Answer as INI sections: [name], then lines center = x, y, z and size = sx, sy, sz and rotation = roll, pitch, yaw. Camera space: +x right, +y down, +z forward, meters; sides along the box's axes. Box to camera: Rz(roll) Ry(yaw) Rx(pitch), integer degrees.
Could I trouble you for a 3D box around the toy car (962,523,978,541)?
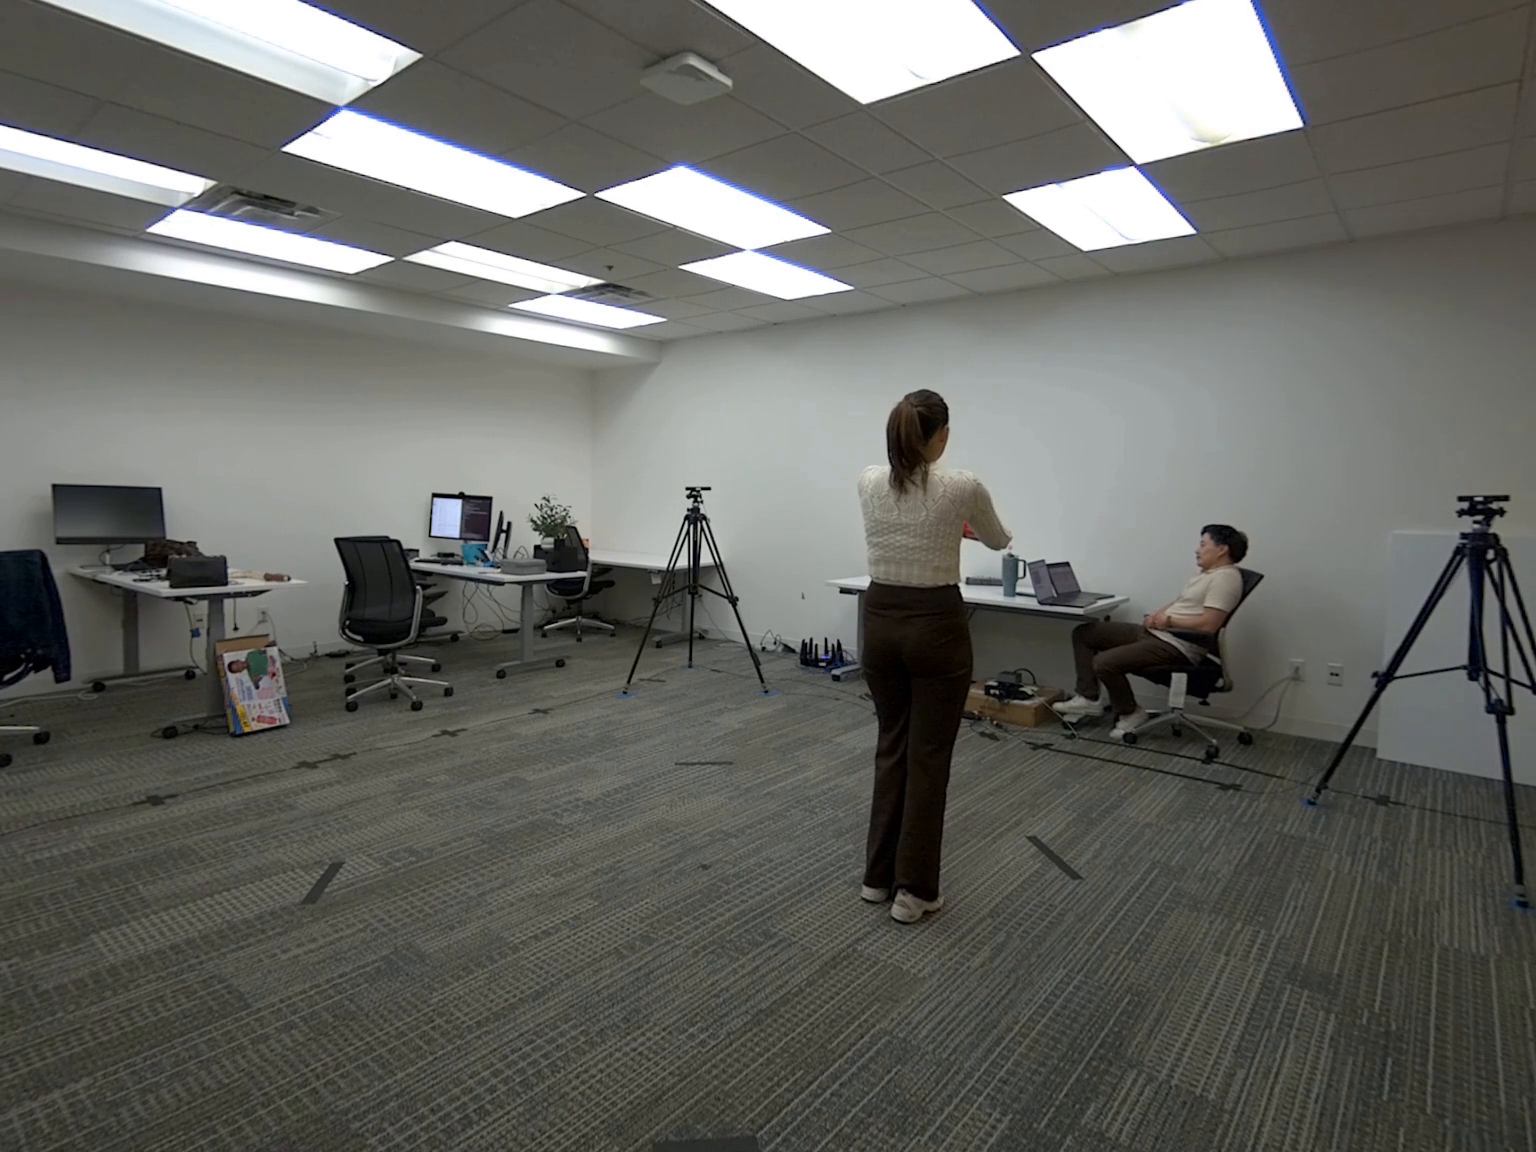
[toy car]
center = 0.793, -0.174, 3.307
size = 0.265, 0.081, 0.128
rotation = 29, 41, 36
